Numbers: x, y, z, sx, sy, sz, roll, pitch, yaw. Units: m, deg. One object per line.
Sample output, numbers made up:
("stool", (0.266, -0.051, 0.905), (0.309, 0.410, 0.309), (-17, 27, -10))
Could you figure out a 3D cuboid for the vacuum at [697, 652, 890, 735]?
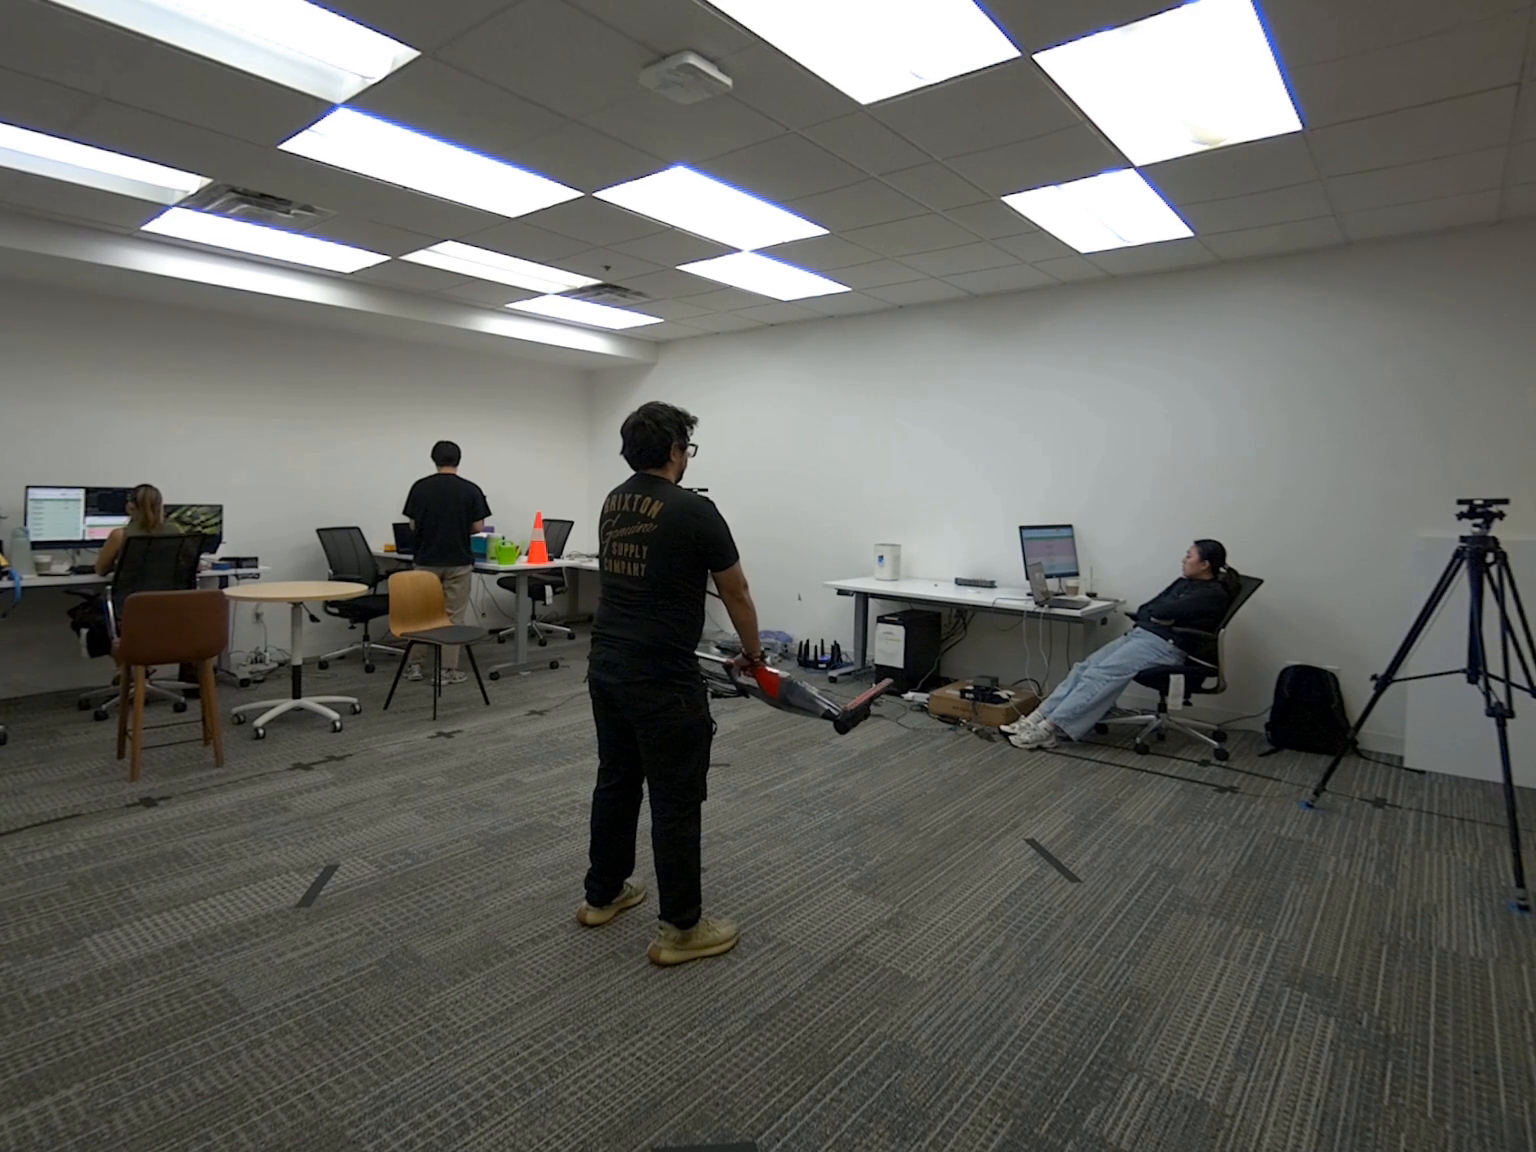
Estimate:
("vacuum", (-0.141, 0.330, 2.858), (1.087, 0.142, 0.248), (9, 22, 41))
